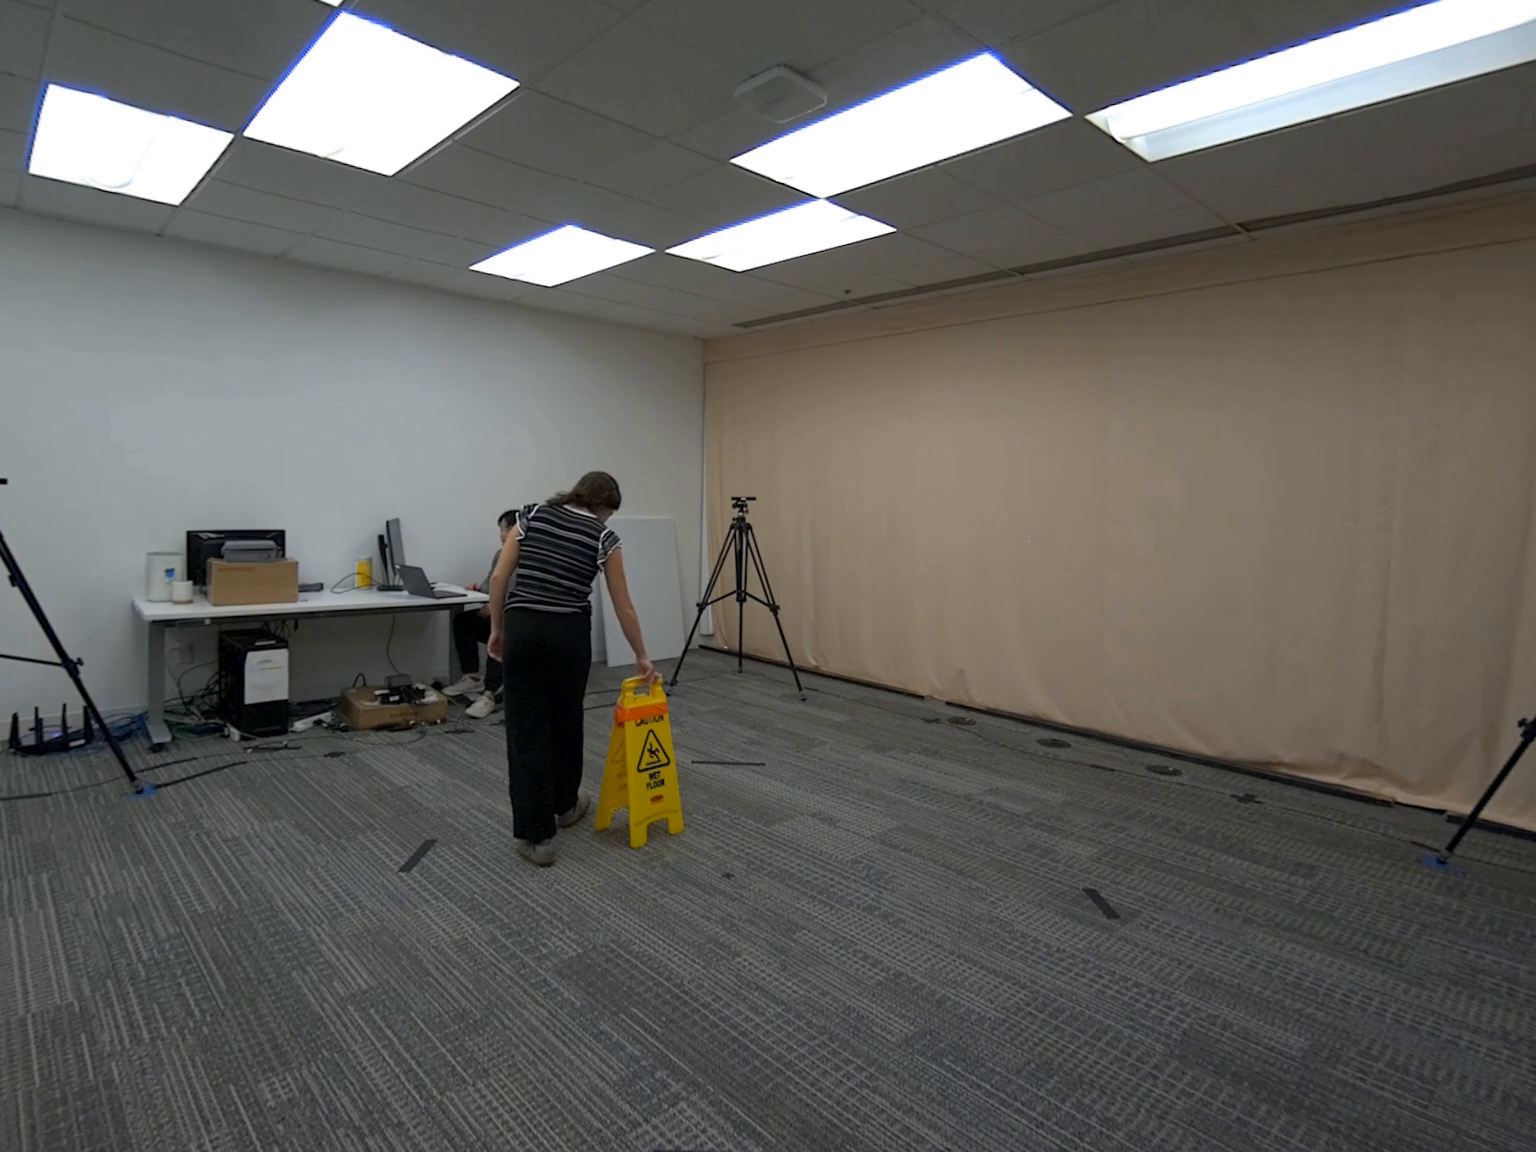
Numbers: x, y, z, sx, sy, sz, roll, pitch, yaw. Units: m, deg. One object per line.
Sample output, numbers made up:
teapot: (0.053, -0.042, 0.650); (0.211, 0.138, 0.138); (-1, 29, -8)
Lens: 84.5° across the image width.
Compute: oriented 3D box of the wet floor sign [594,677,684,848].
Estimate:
wet floor sign: (-0.540, 0.738, 3.497); (0.297, 0.645, 0.276); (3, 3, 42)
